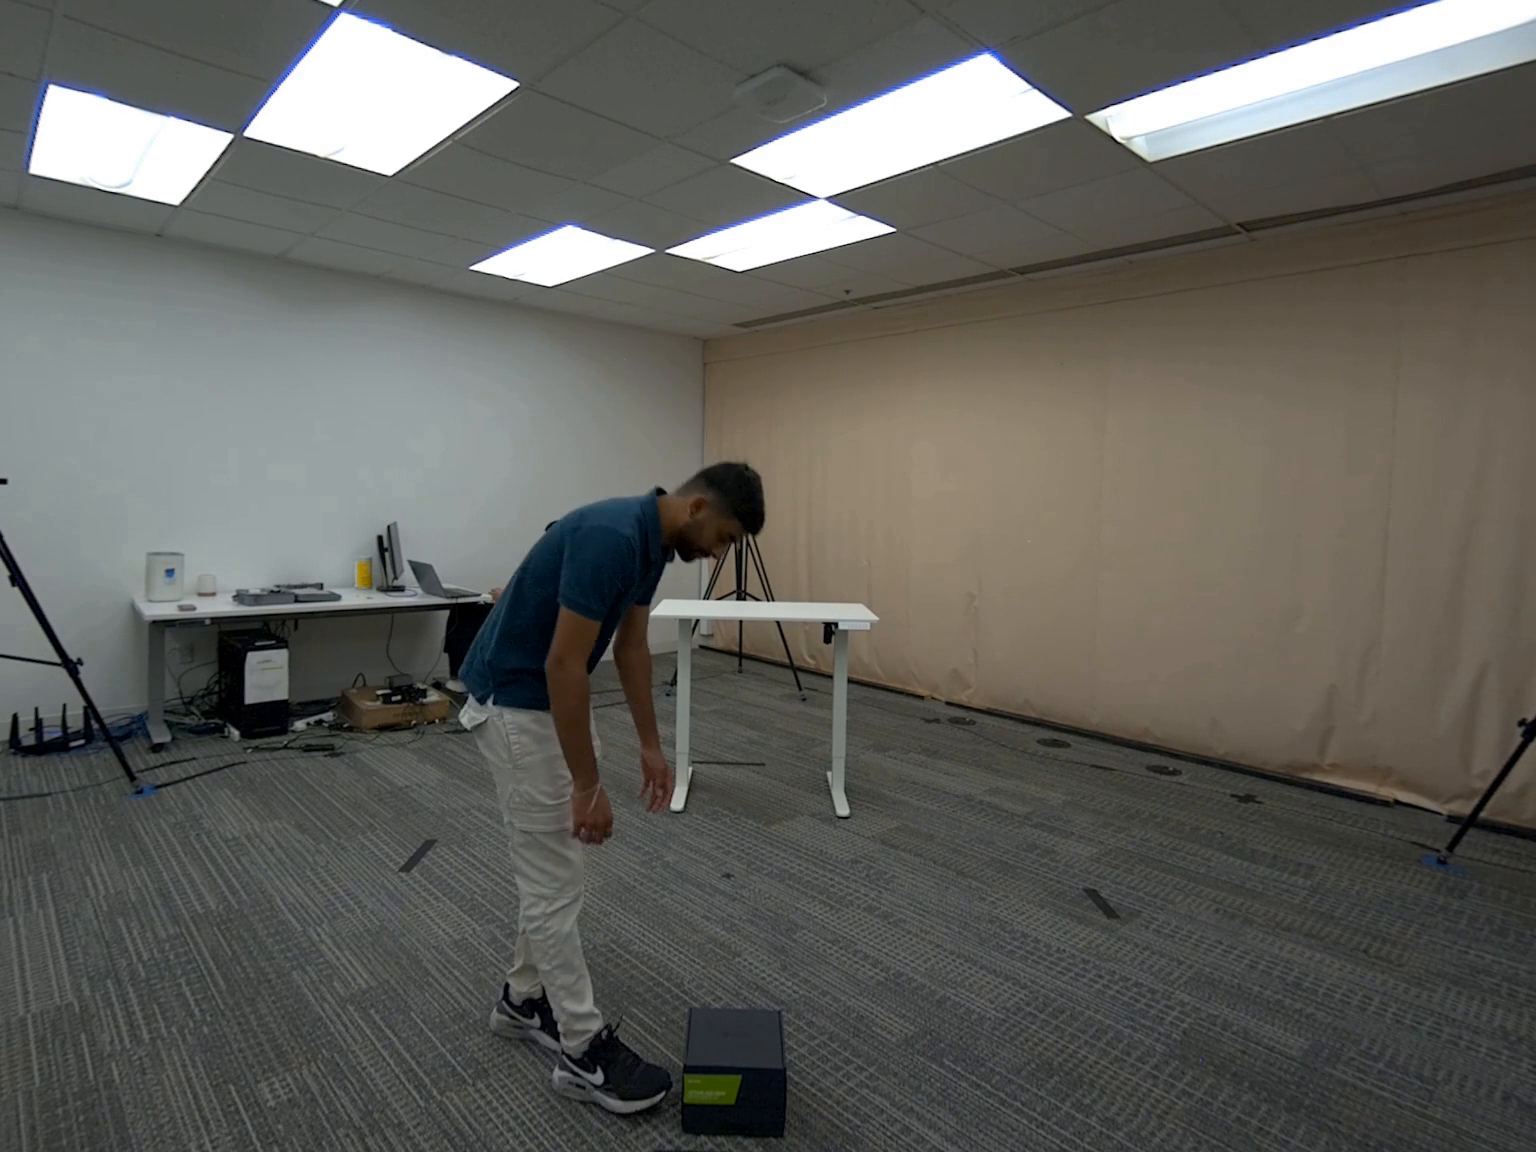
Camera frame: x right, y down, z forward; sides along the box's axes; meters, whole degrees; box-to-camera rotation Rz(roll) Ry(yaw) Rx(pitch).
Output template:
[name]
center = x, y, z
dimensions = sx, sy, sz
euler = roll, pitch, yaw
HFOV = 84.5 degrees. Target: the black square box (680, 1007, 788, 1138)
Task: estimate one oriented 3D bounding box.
[black square box]
center = -0.081, 1.135, 1.933
dimensions = 0.228, 0.155, 0.217
euler = 1, 4, -1
